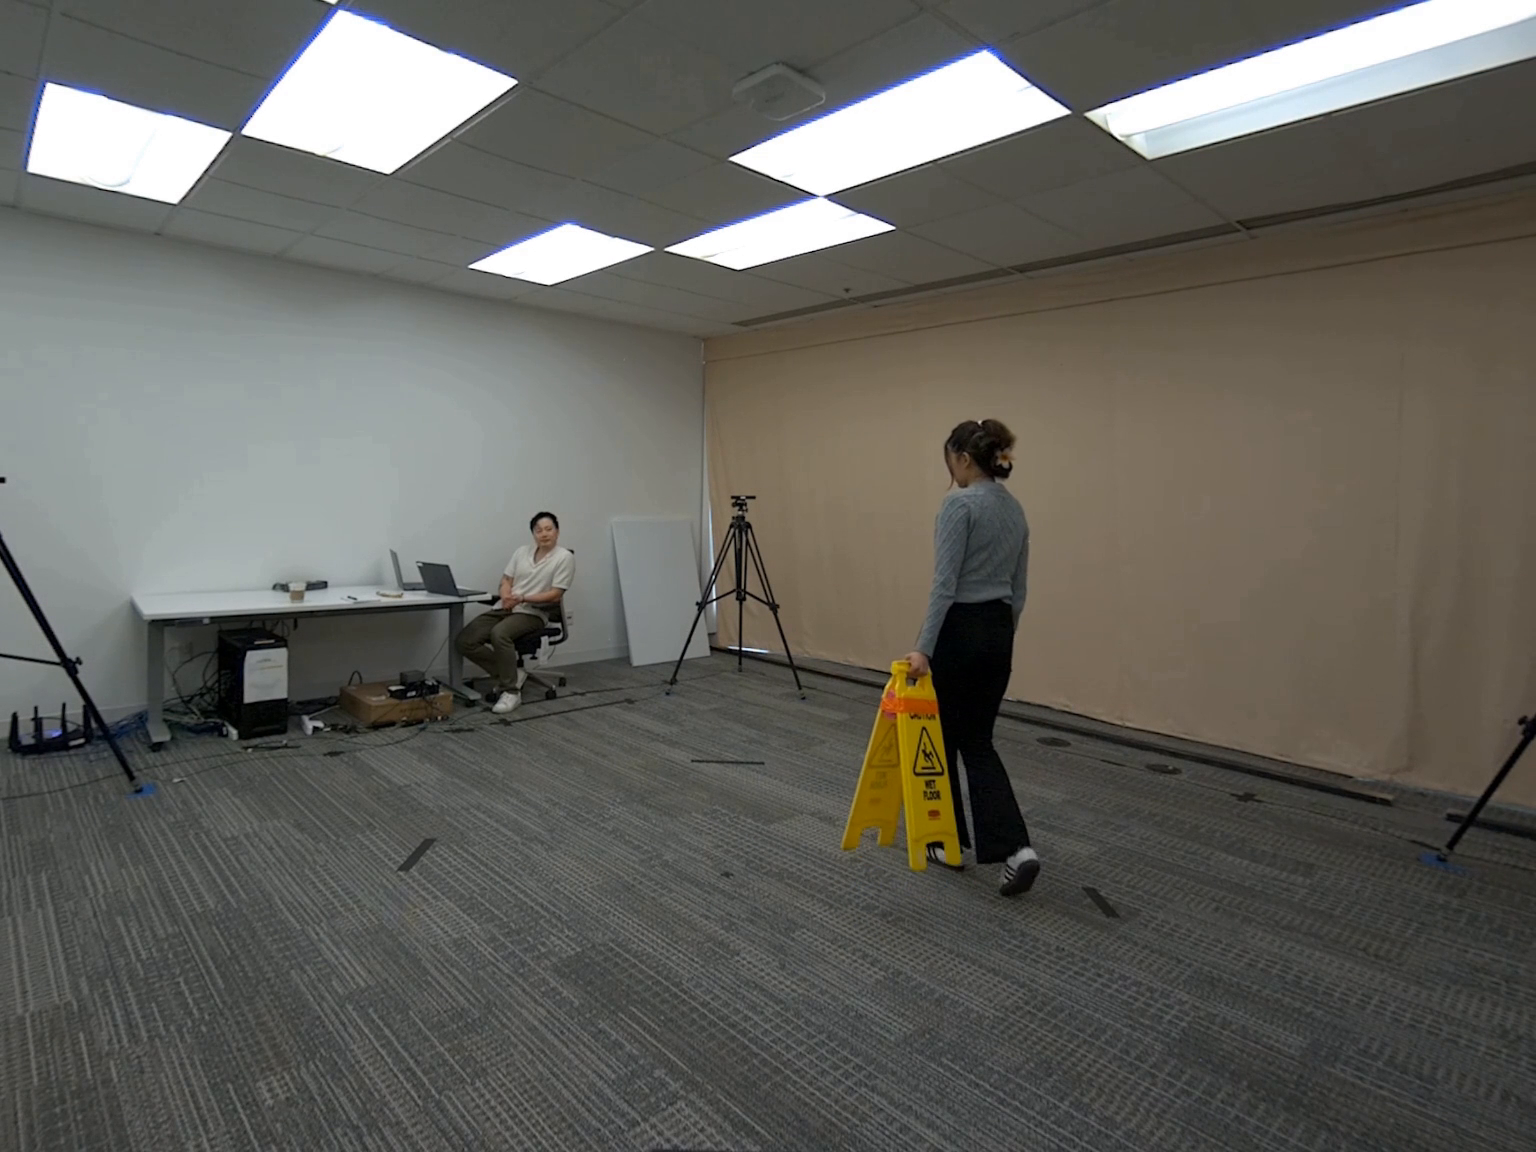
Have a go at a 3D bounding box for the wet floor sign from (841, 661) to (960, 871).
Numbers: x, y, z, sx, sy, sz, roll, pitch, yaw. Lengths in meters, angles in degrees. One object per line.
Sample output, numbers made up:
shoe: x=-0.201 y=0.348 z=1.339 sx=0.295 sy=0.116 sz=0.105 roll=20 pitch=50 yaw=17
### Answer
wet floor sign: x=0.457 y=0.618 z=2.857 sx=0.274 sy=0.650 sz=0.296 roll=13 pitch=-12 yaw=-43
